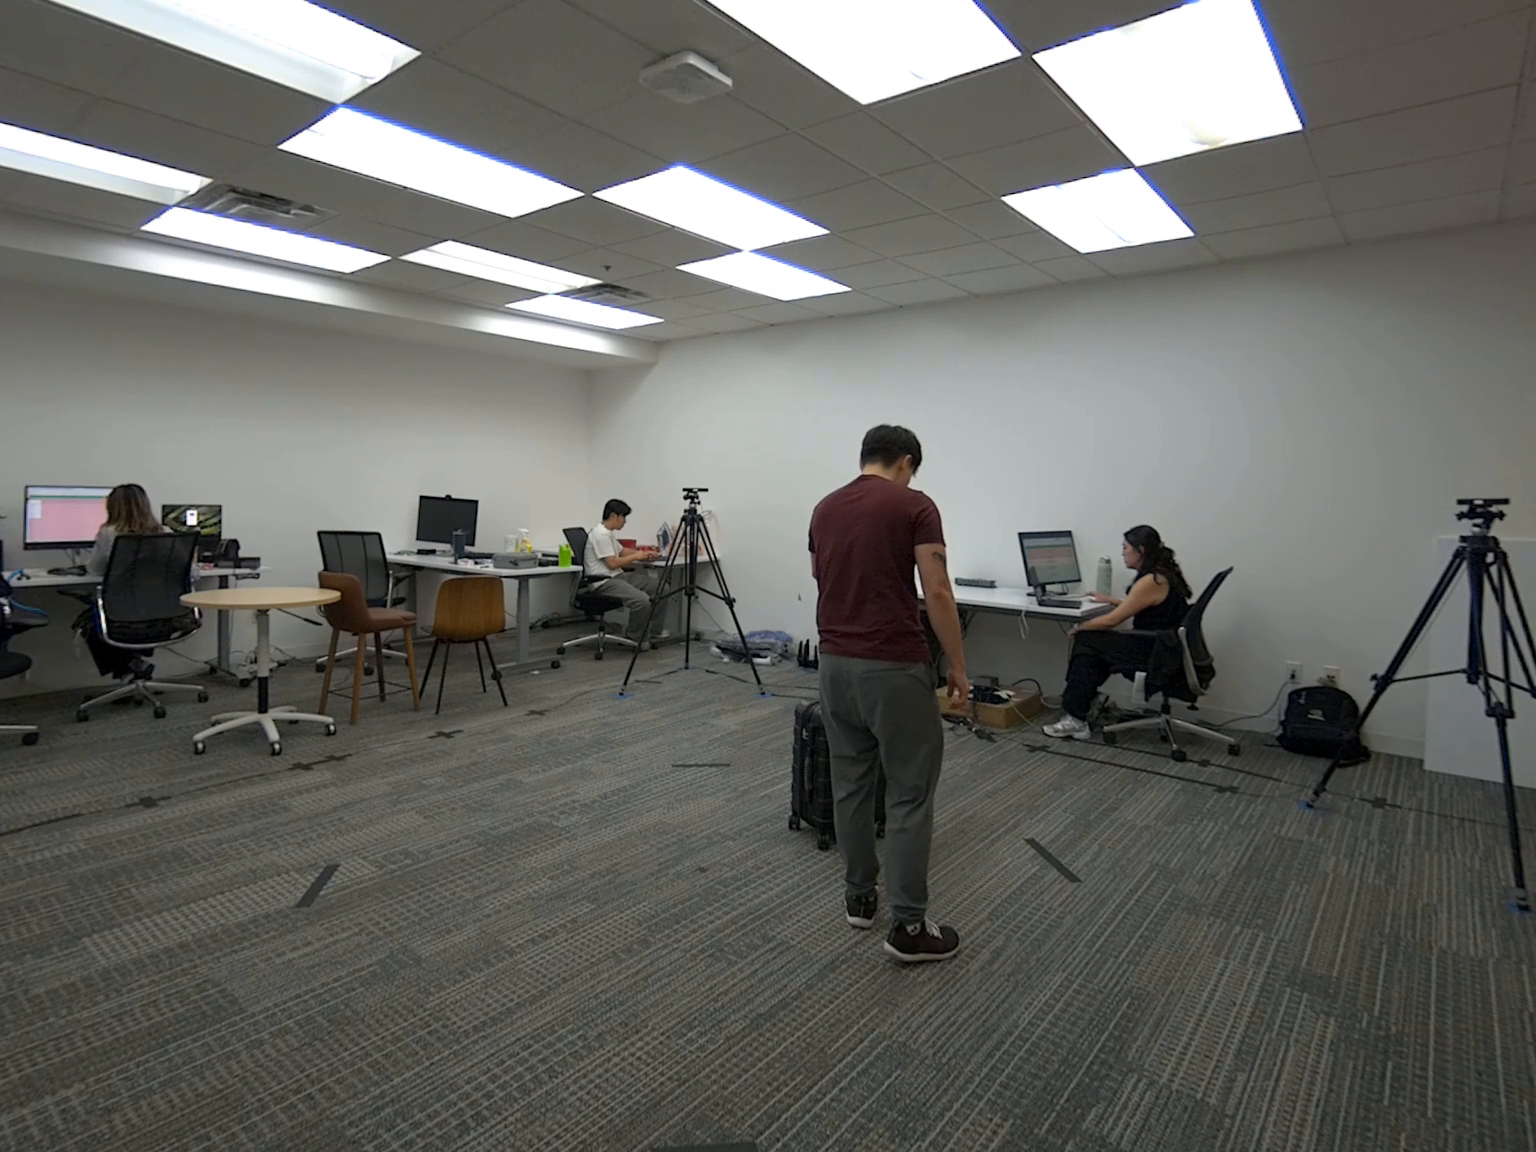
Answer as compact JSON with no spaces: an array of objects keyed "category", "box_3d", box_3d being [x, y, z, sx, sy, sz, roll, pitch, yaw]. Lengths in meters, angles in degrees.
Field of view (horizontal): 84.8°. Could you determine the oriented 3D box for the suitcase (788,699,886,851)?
[{"category":"suitcase","box_3d":[0.289,0.569,3.487,0.375,0.979,0.263,1,-1,-25]}]
